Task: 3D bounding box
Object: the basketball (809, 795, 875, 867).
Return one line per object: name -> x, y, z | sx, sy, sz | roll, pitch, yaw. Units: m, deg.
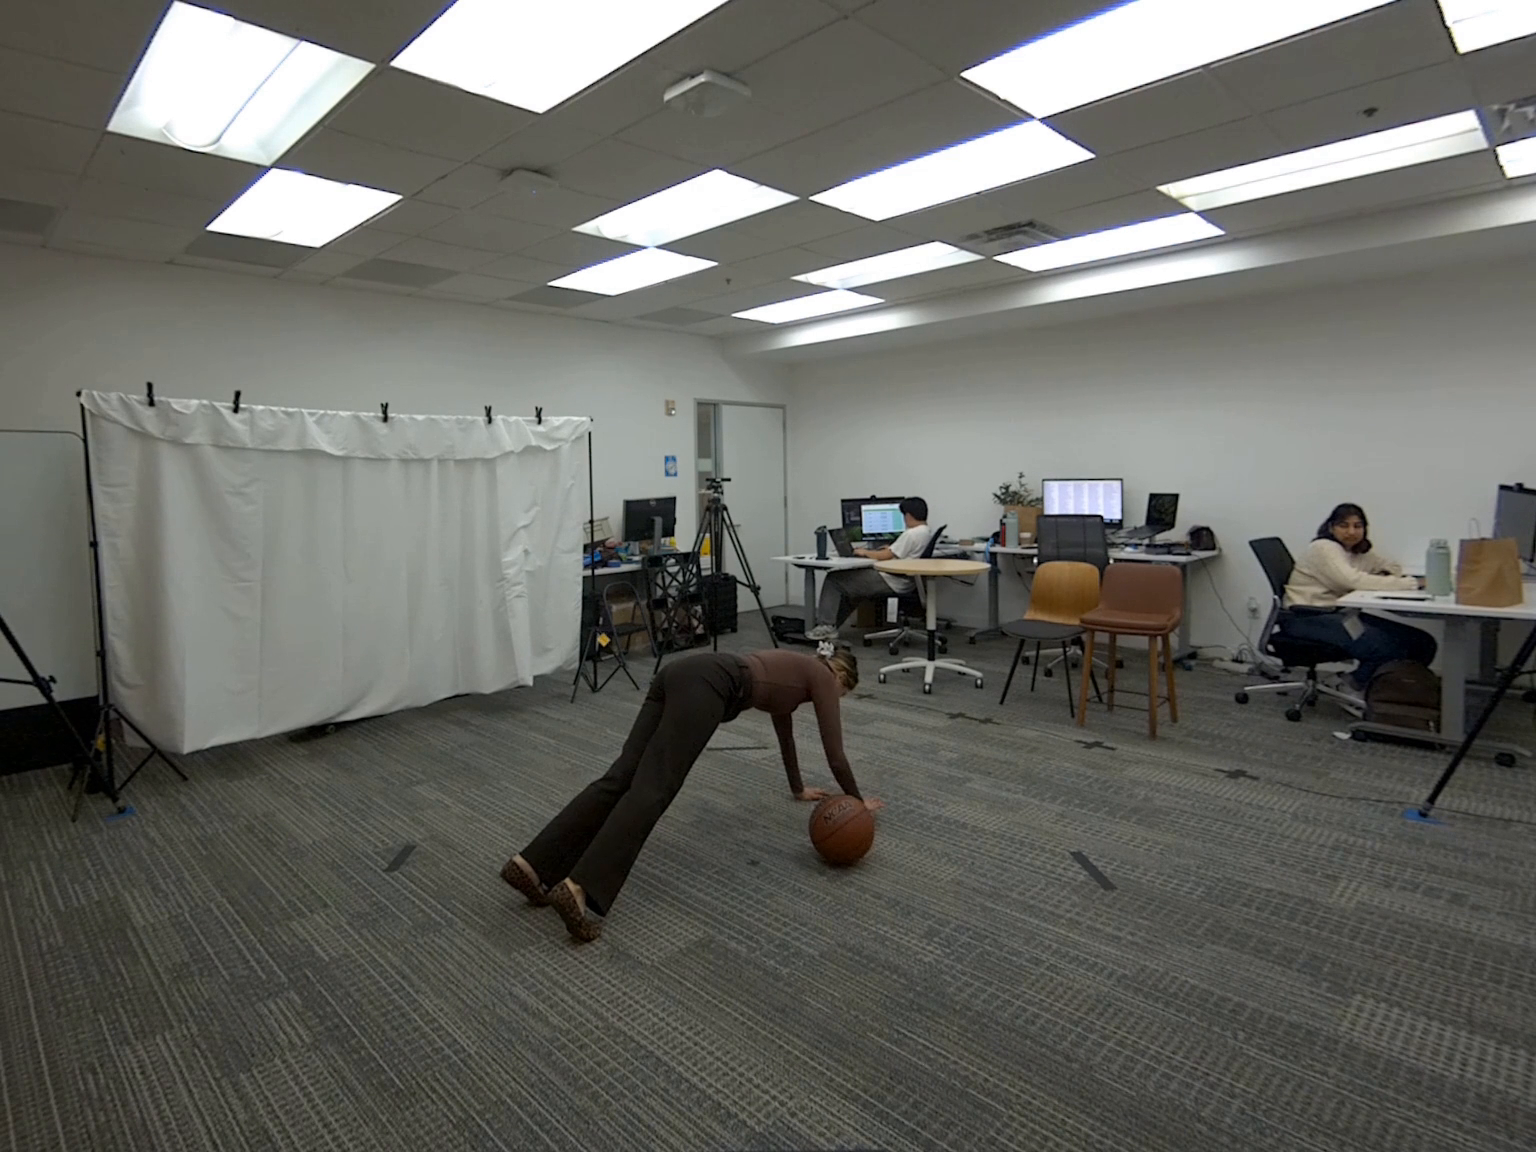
basketball -> 0.267, 0.909, 3.100 | 0.236, 0.235, 0.237 | -1, 5, -2
